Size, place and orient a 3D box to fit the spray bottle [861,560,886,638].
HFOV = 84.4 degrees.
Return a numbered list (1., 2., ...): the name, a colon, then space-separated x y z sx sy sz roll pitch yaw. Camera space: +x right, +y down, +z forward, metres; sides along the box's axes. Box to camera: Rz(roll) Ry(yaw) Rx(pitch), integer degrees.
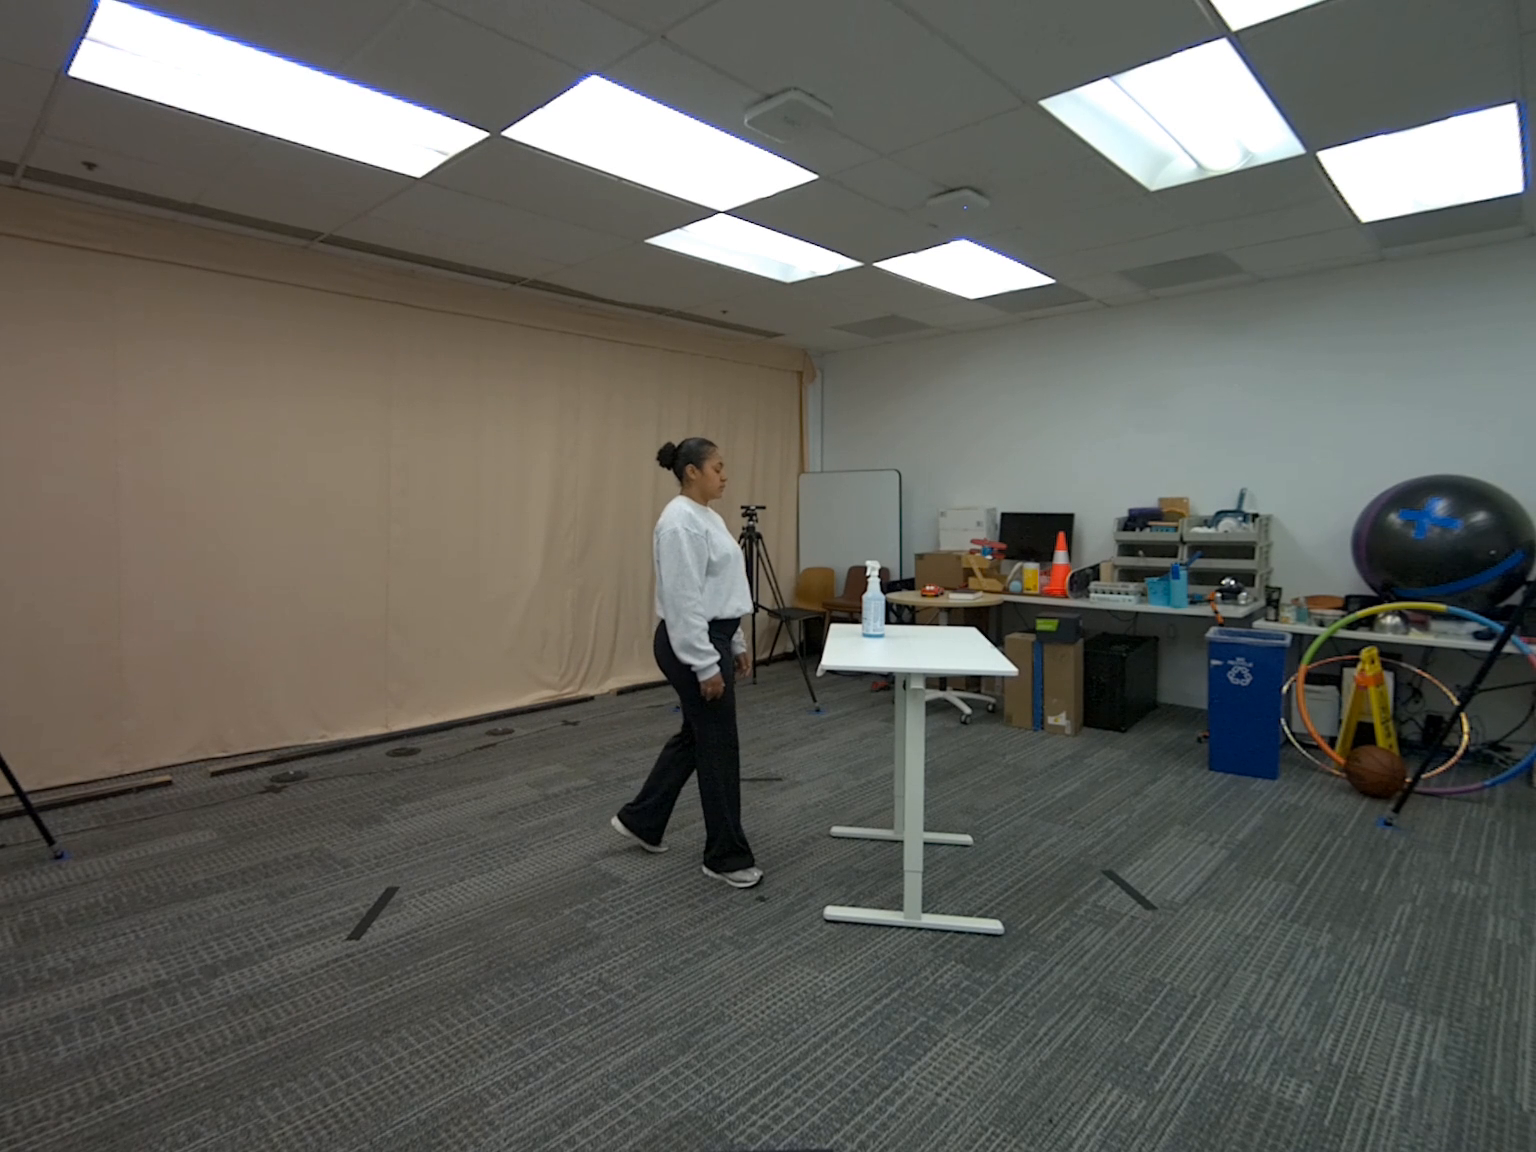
1. spray bottle: 0.417 0.091 3.272 0.088 0.297 0.089 -2 3 -23
